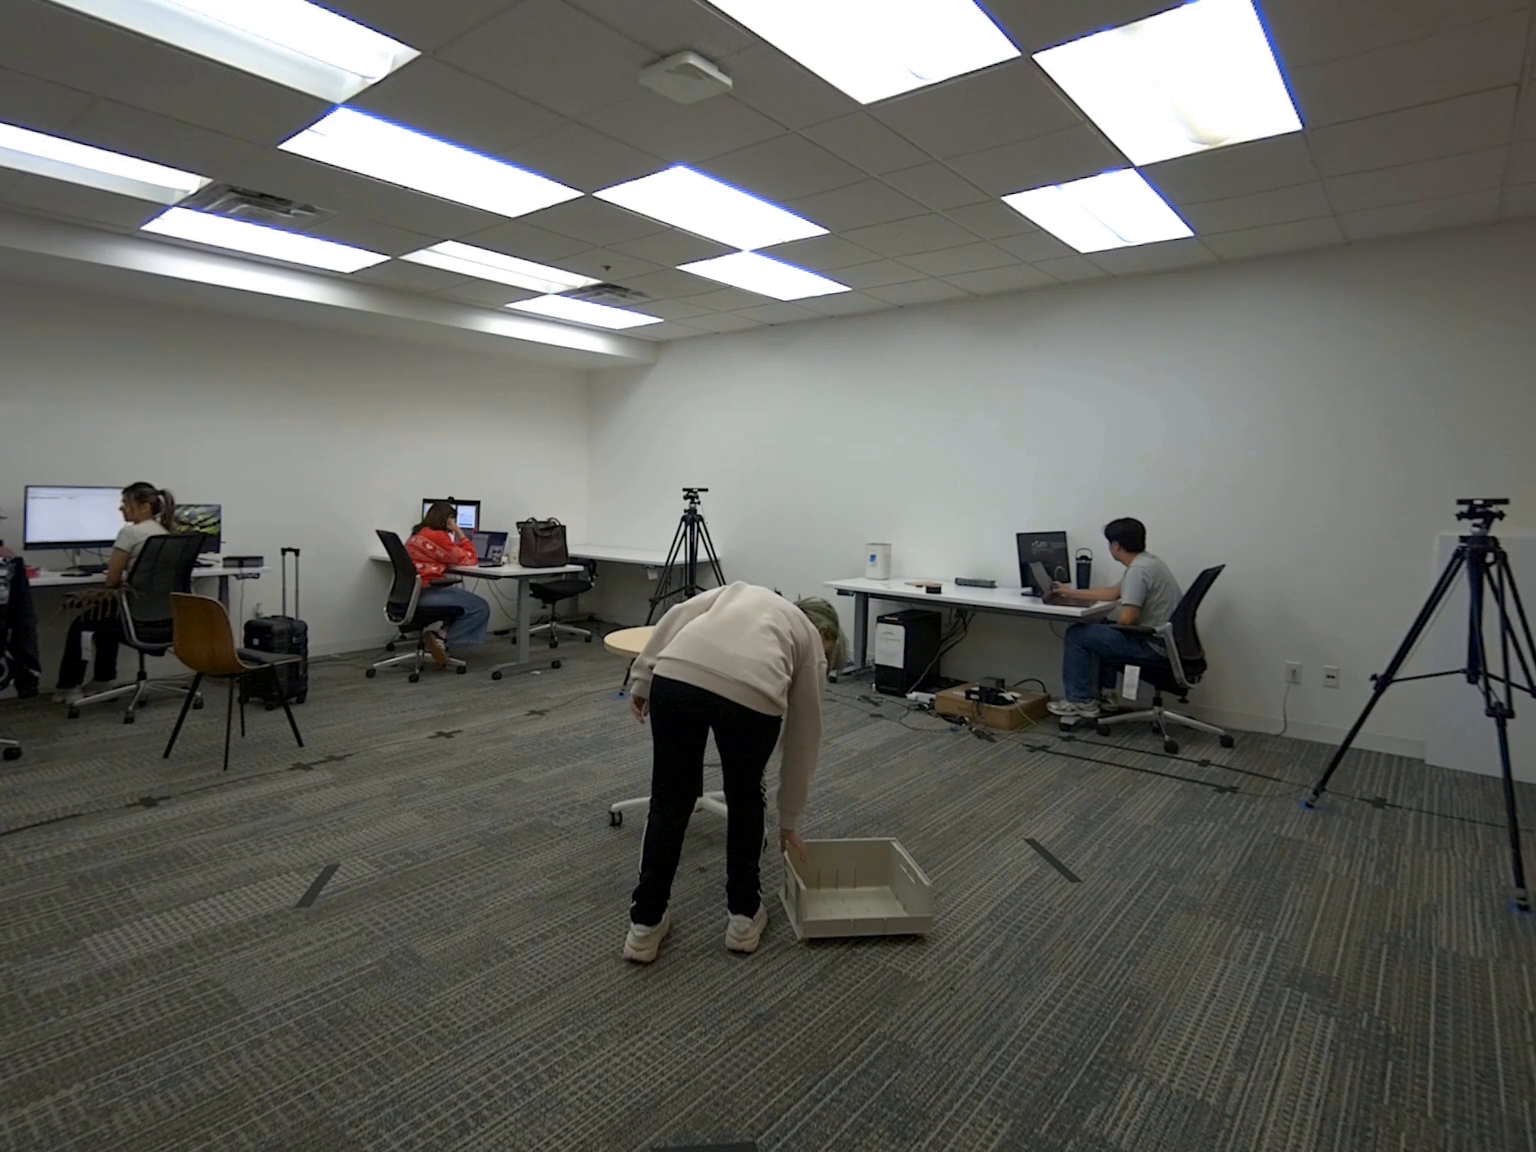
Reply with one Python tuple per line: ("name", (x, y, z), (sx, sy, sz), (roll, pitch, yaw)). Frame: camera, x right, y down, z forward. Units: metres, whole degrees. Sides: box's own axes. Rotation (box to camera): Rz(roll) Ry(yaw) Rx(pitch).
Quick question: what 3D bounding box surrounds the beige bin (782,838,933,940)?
("beige bin", (0.268, 1.021, 2.779), (0.418, 0.188, 0.382), (0, 4, -9))
